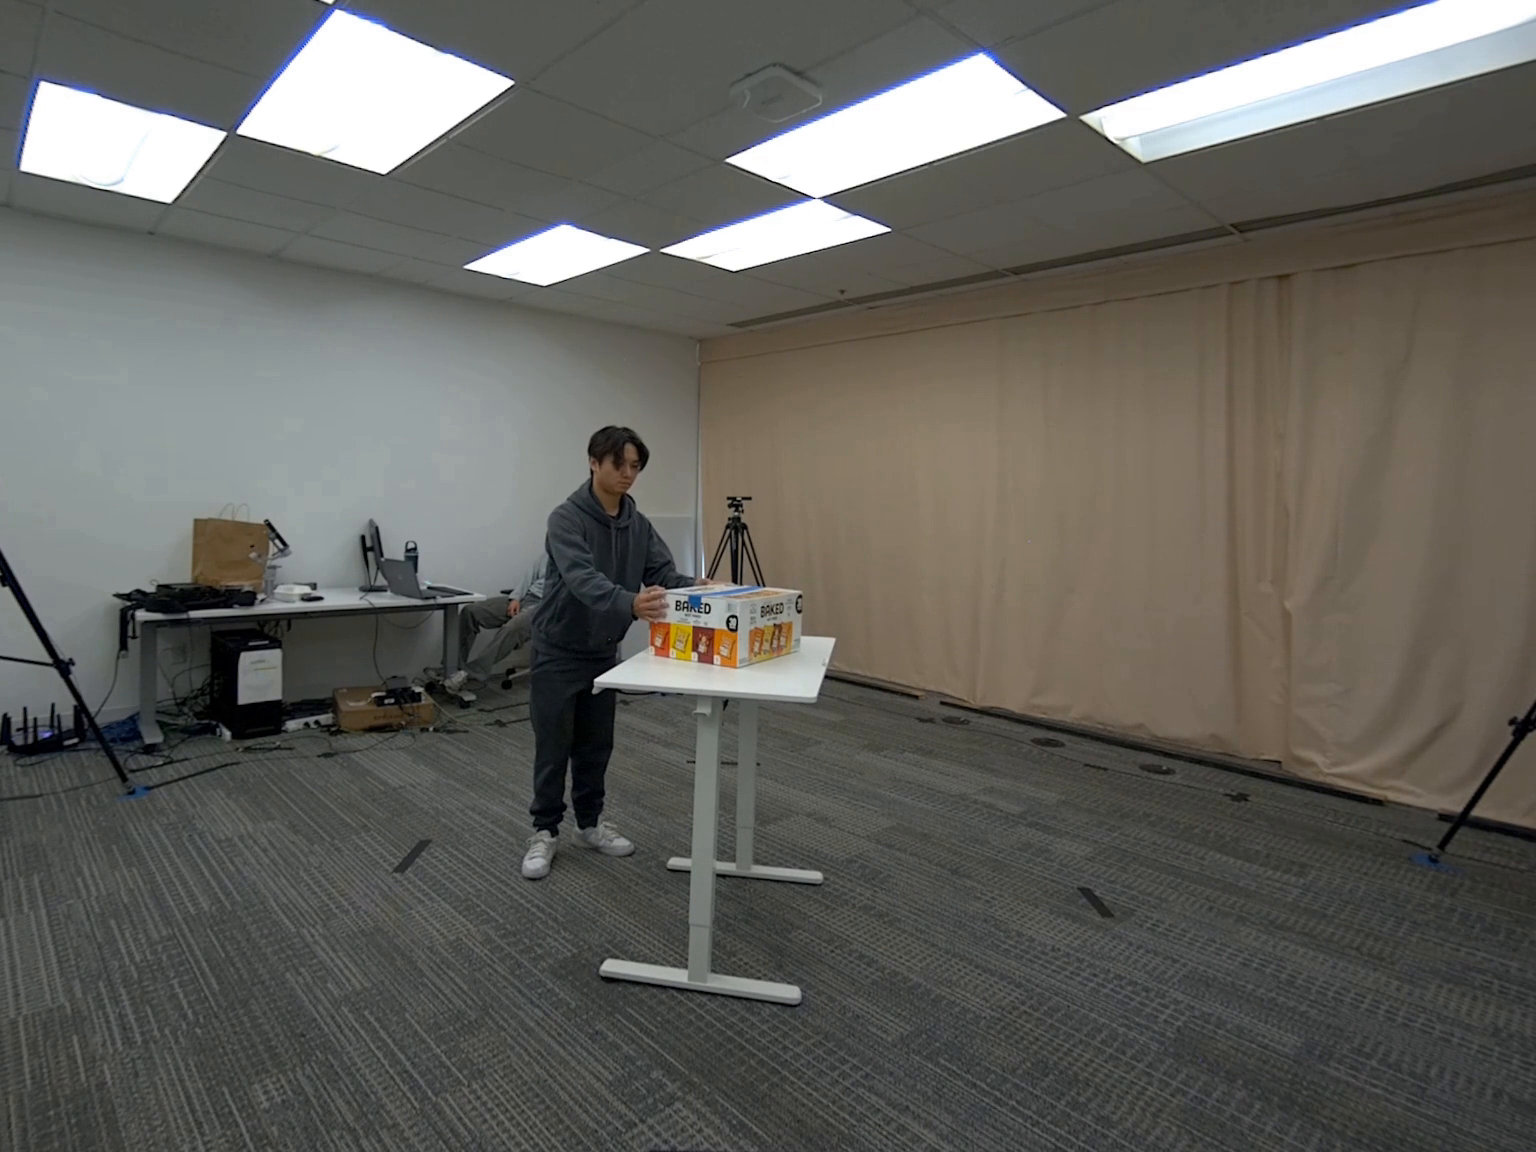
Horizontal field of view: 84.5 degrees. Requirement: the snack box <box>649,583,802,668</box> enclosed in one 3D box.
[{"bbox_3d":[-0.140,0.154,2.759,0.348,0.205,0.397,5,5,31],"label":"snack box"}]
